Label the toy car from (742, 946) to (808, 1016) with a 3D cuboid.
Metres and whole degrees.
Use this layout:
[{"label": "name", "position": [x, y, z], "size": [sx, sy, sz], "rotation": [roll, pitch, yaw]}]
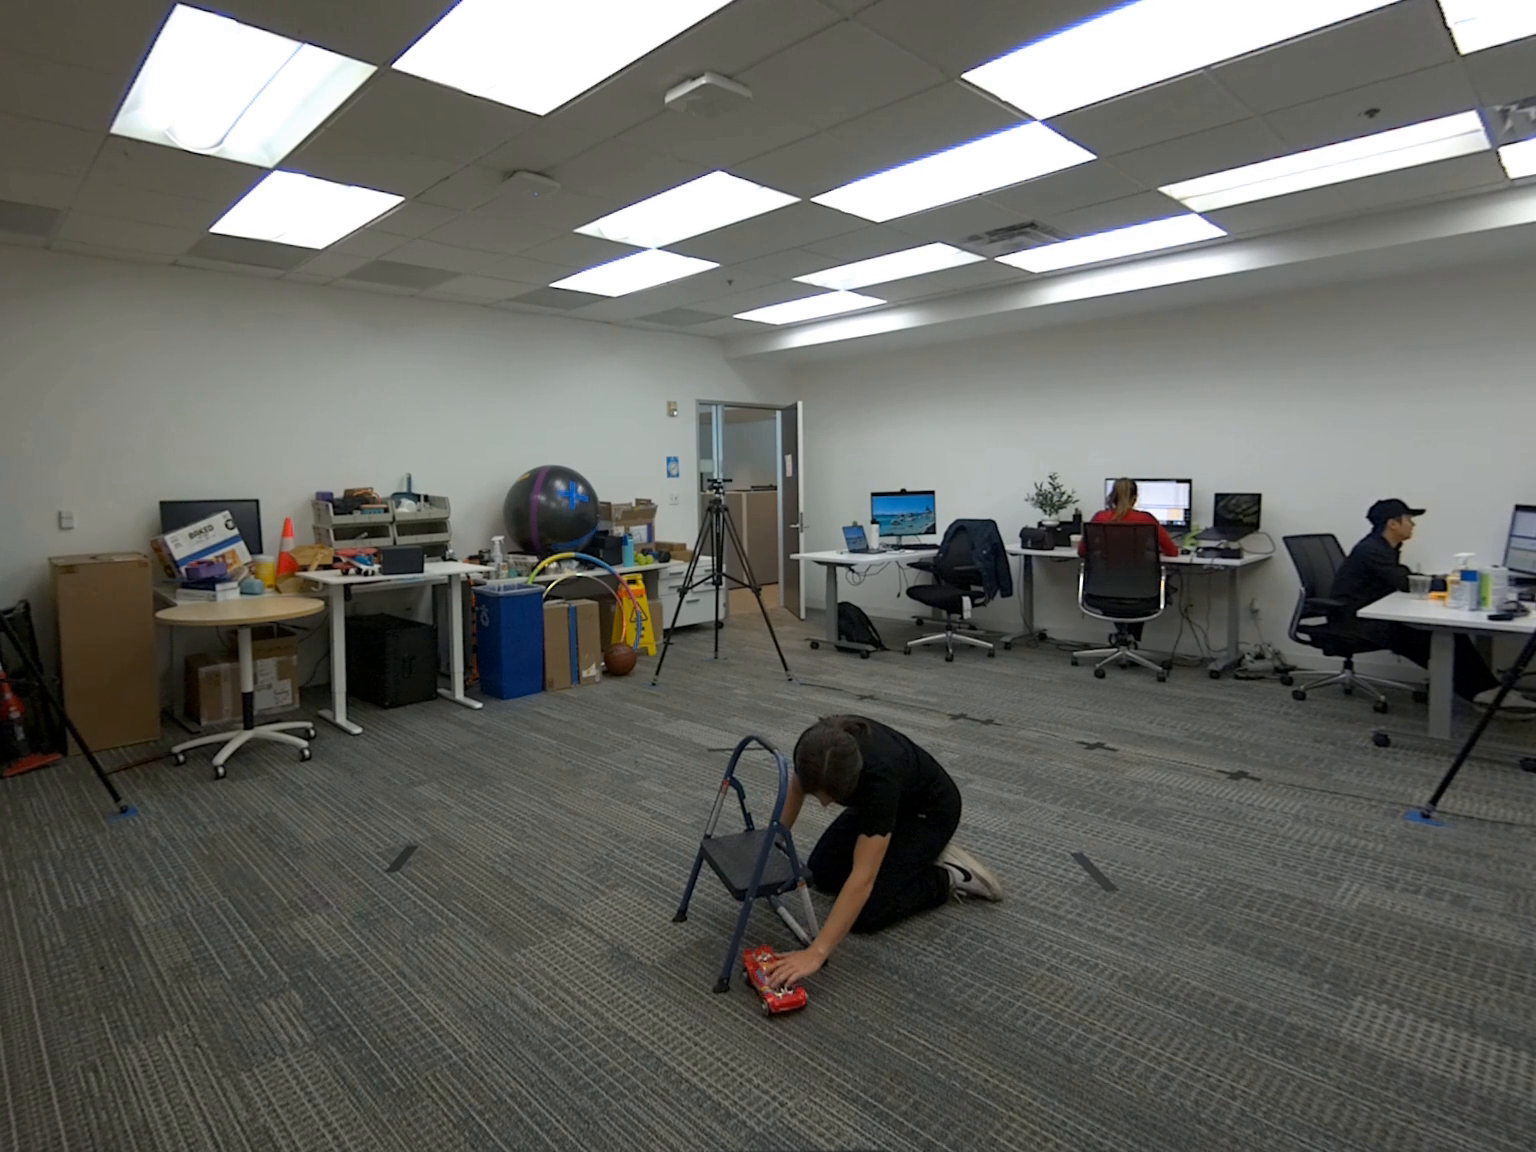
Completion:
[{"label": "toy car", "position": [0.016, 1.110, 2.321], "size": [0.128, 0.082, 0.262], "rotation": [-7, 18, -19]}]
